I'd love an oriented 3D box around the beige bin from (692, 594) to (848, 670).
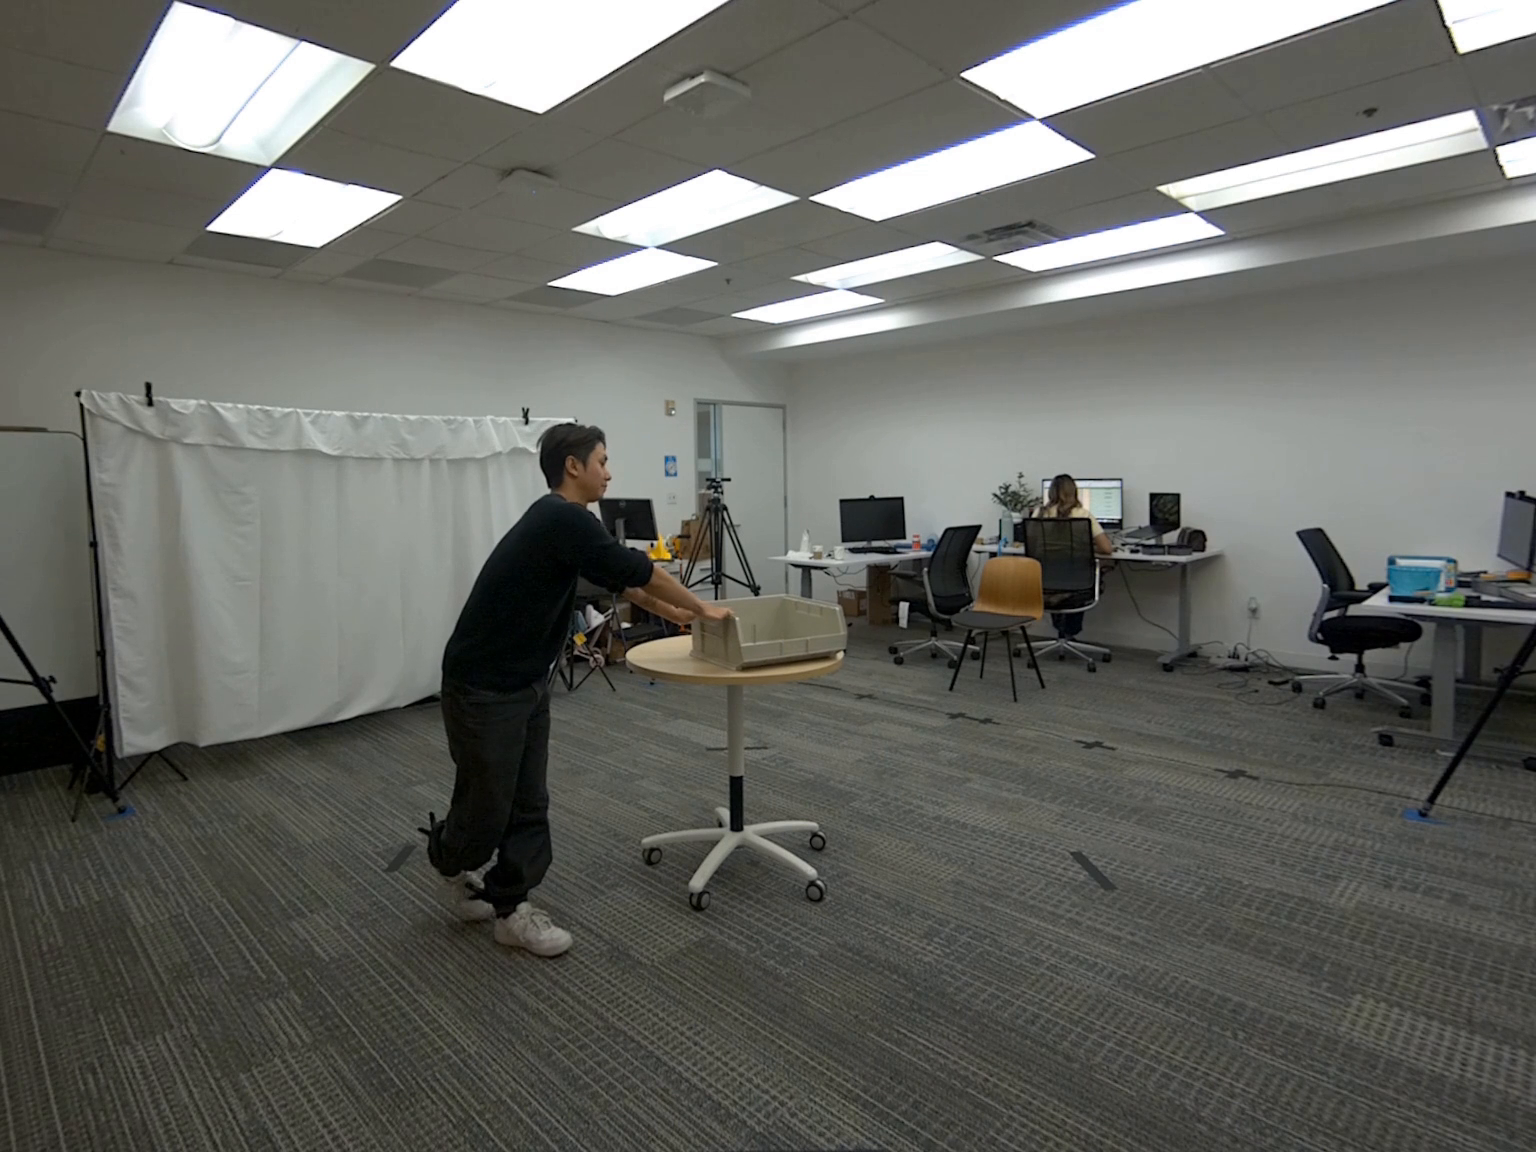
[{"bbox_3d":[-0.012,0.188,2.931,0.412,0.188,0.387,-4,5,-30],"label":"beige bin"}]
